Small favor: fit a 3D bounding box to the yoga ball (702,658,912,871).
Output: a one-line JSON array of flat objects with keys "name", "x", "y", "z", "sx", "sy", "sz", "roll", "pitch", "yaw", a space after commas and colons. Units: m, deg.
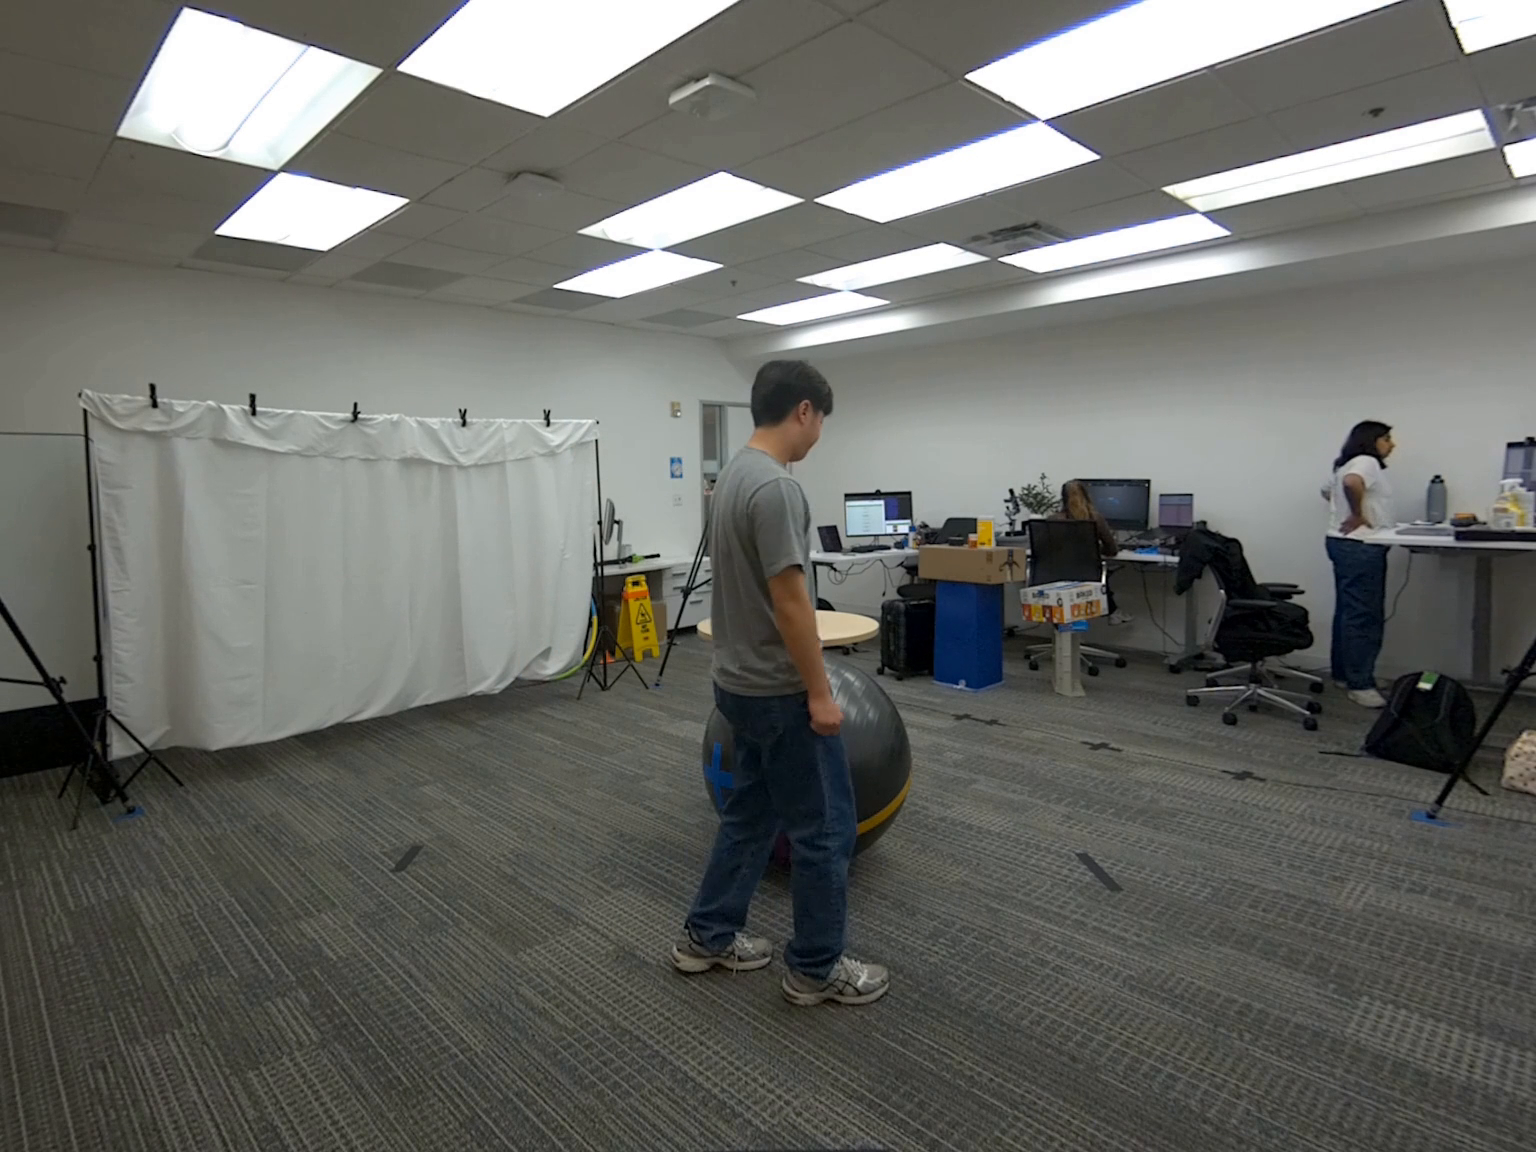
[{"name": "yoga ball", "x": 0.143, "y": 0.668, "z": 3.135, "sx": 0.757, "sy": 0.755, "sz": 0.762, "roll": -1, "pitch": 5, "yaw": -2}]
